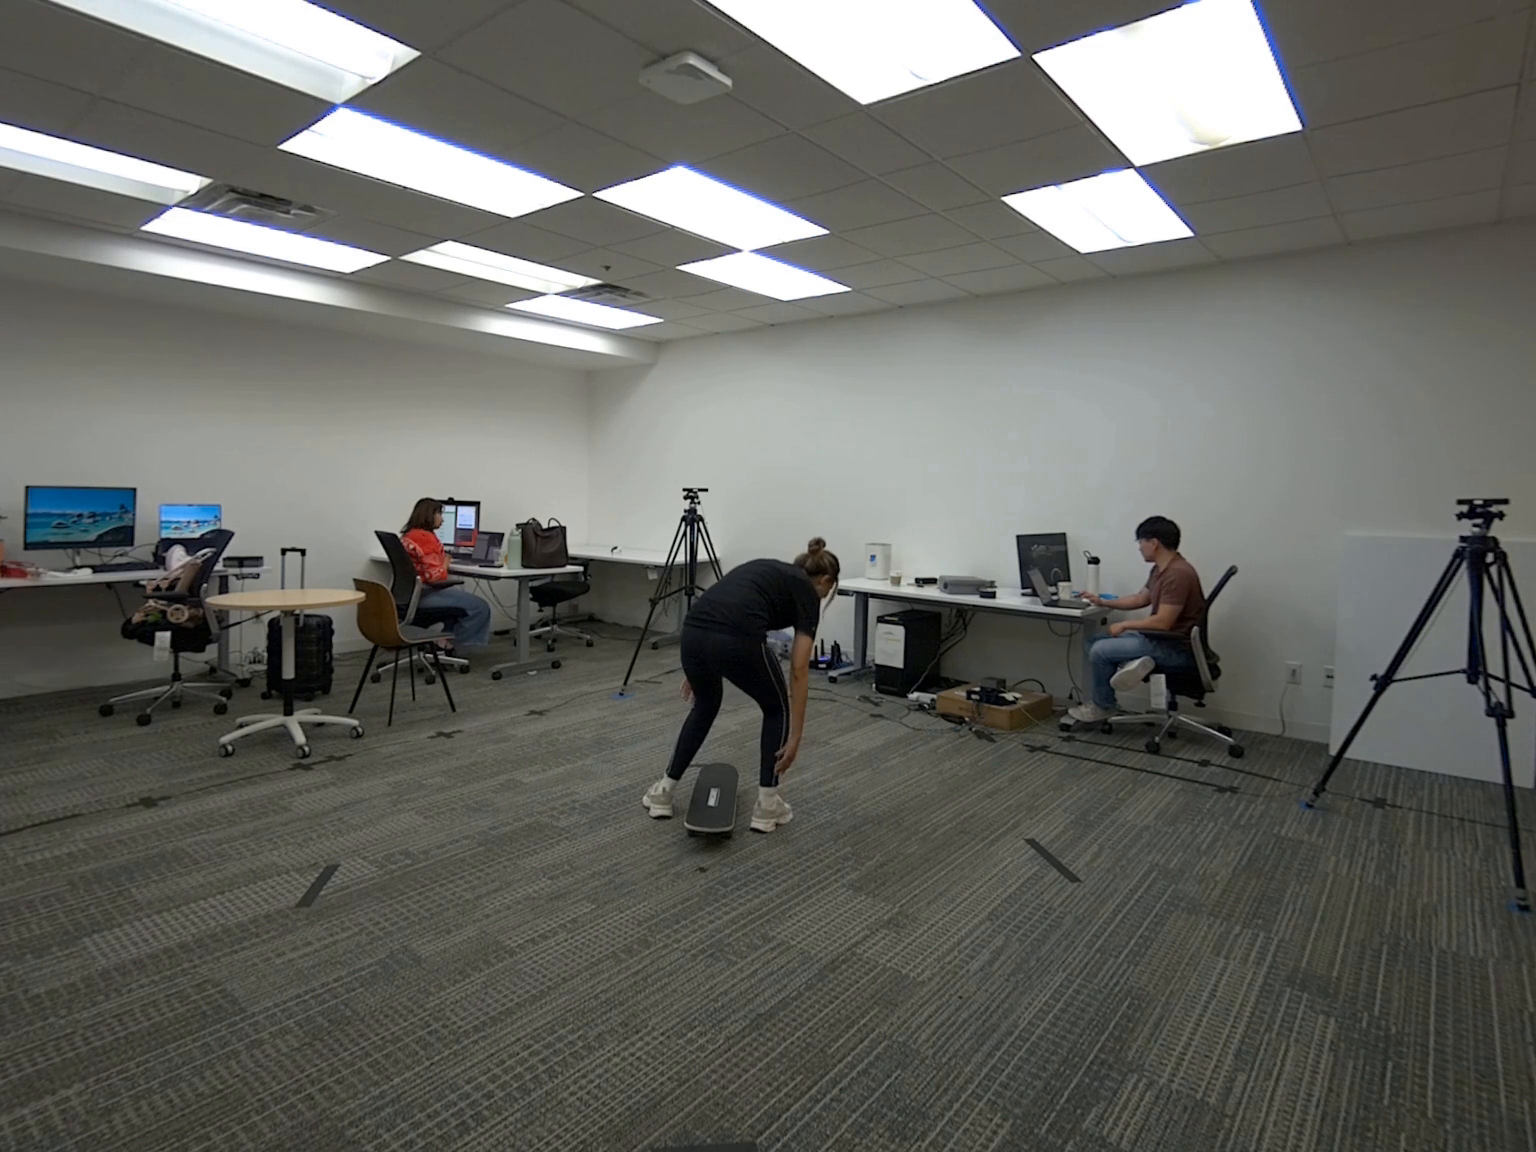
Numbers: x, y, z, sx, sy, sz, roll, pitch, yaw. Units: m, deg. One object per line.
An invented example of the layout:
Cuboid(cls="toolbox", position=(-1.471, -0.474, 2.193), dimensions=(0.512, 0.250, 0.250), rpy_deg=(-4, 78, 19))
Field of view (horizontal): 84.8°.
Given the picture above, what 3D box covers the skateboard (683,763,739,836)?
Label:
Cuboid(cls="skateboard", position=(-0.237, 0.959, 3.605), dimensions=(0.194, 0.110, 0.787), rpy_deg=(2, 6, 0))
